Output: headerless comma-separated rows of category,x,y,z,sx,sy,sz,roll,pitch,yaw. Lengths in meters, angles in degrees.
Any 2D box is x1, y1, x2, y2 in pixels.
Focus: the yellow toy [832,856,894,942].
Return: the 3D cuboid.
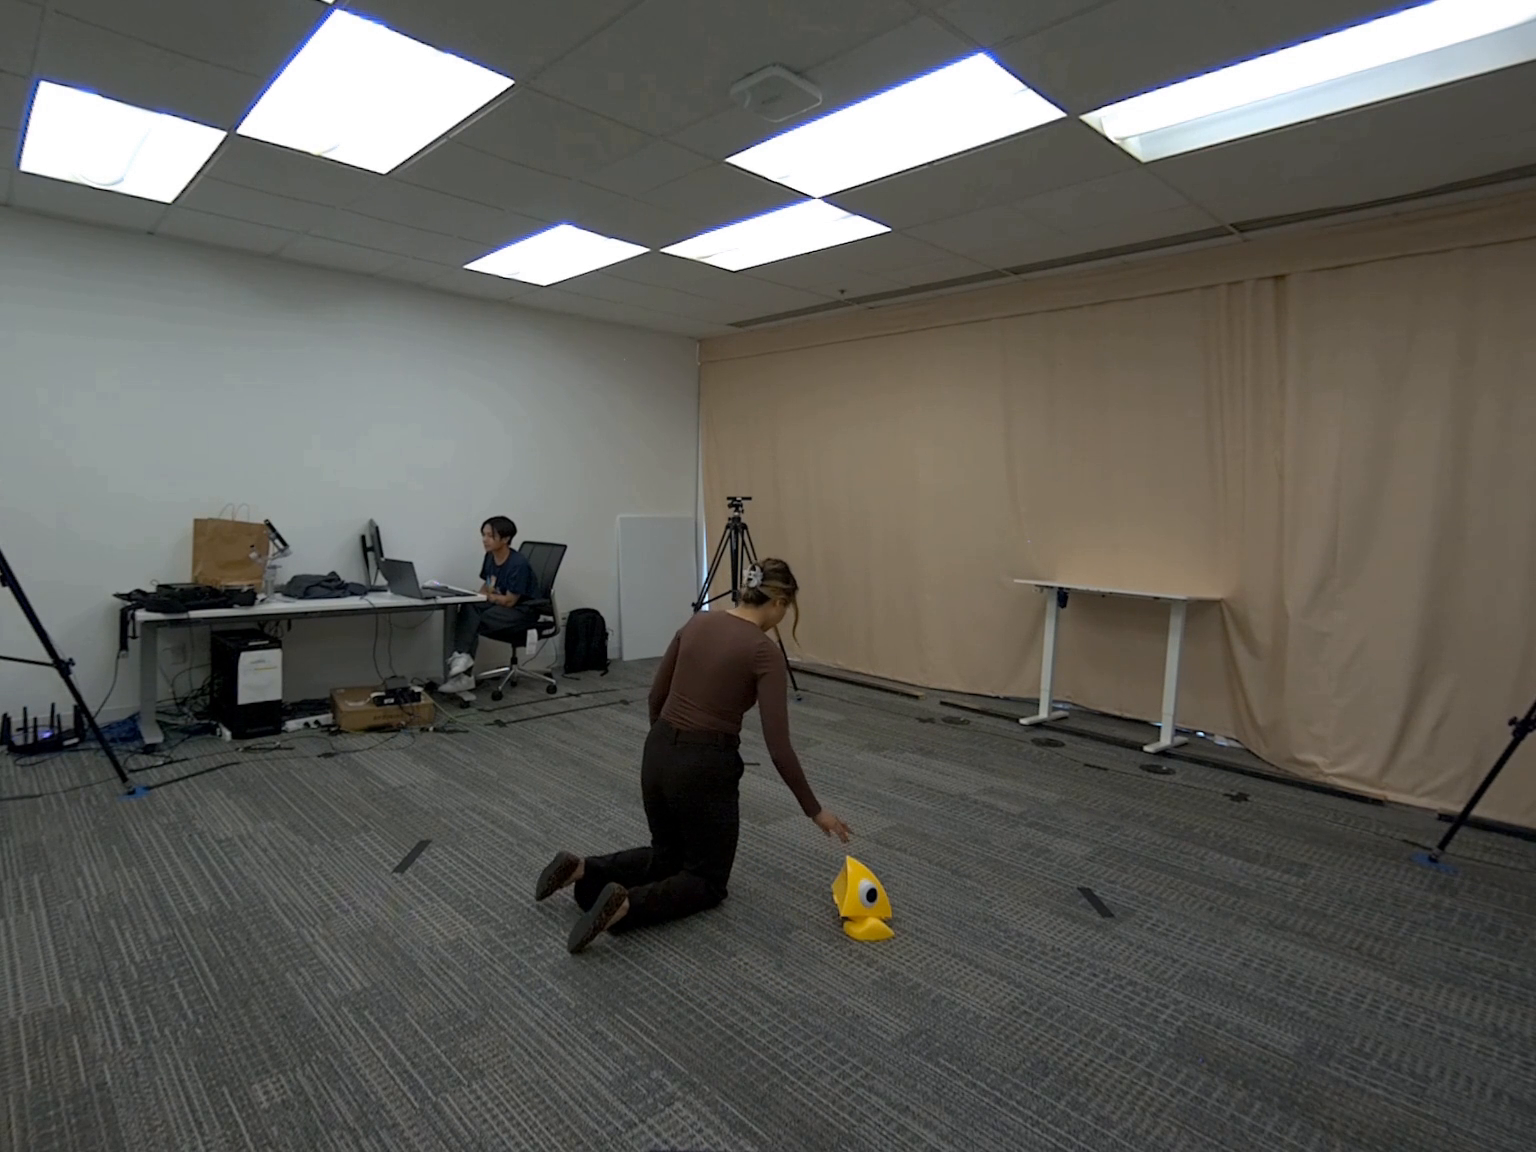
yellow toy,0.308,1.035,2.758,0.192,0.230,0.206,1,5,-3
